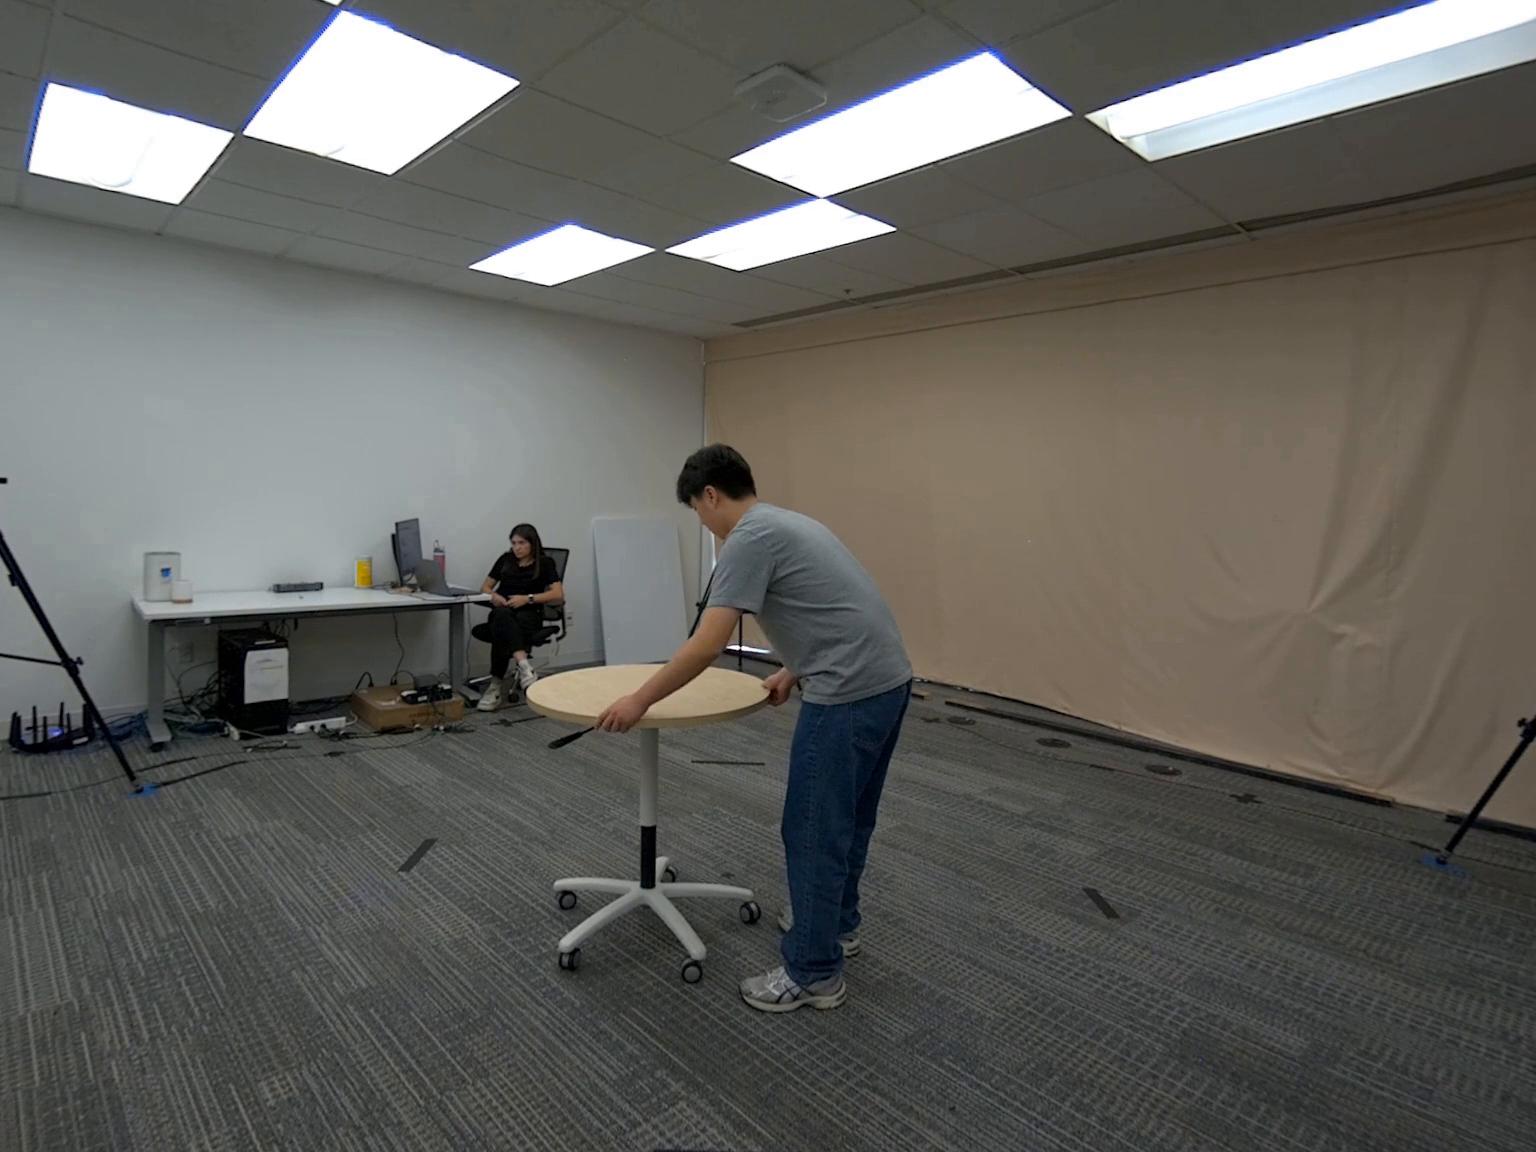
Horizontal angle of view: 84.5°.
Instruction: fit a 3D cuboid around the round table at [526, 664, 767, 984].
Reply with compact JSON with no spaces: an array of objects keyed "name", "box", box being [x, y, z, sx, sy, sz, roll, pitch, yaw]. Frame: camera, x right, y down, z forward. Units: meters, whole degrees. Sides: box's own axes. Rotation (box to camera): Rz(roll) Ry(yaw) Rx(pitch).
[{"name":"round table","box":[-0.387,0.749,2.698,0.763,0.792,0.766,1,4,-1]}]
